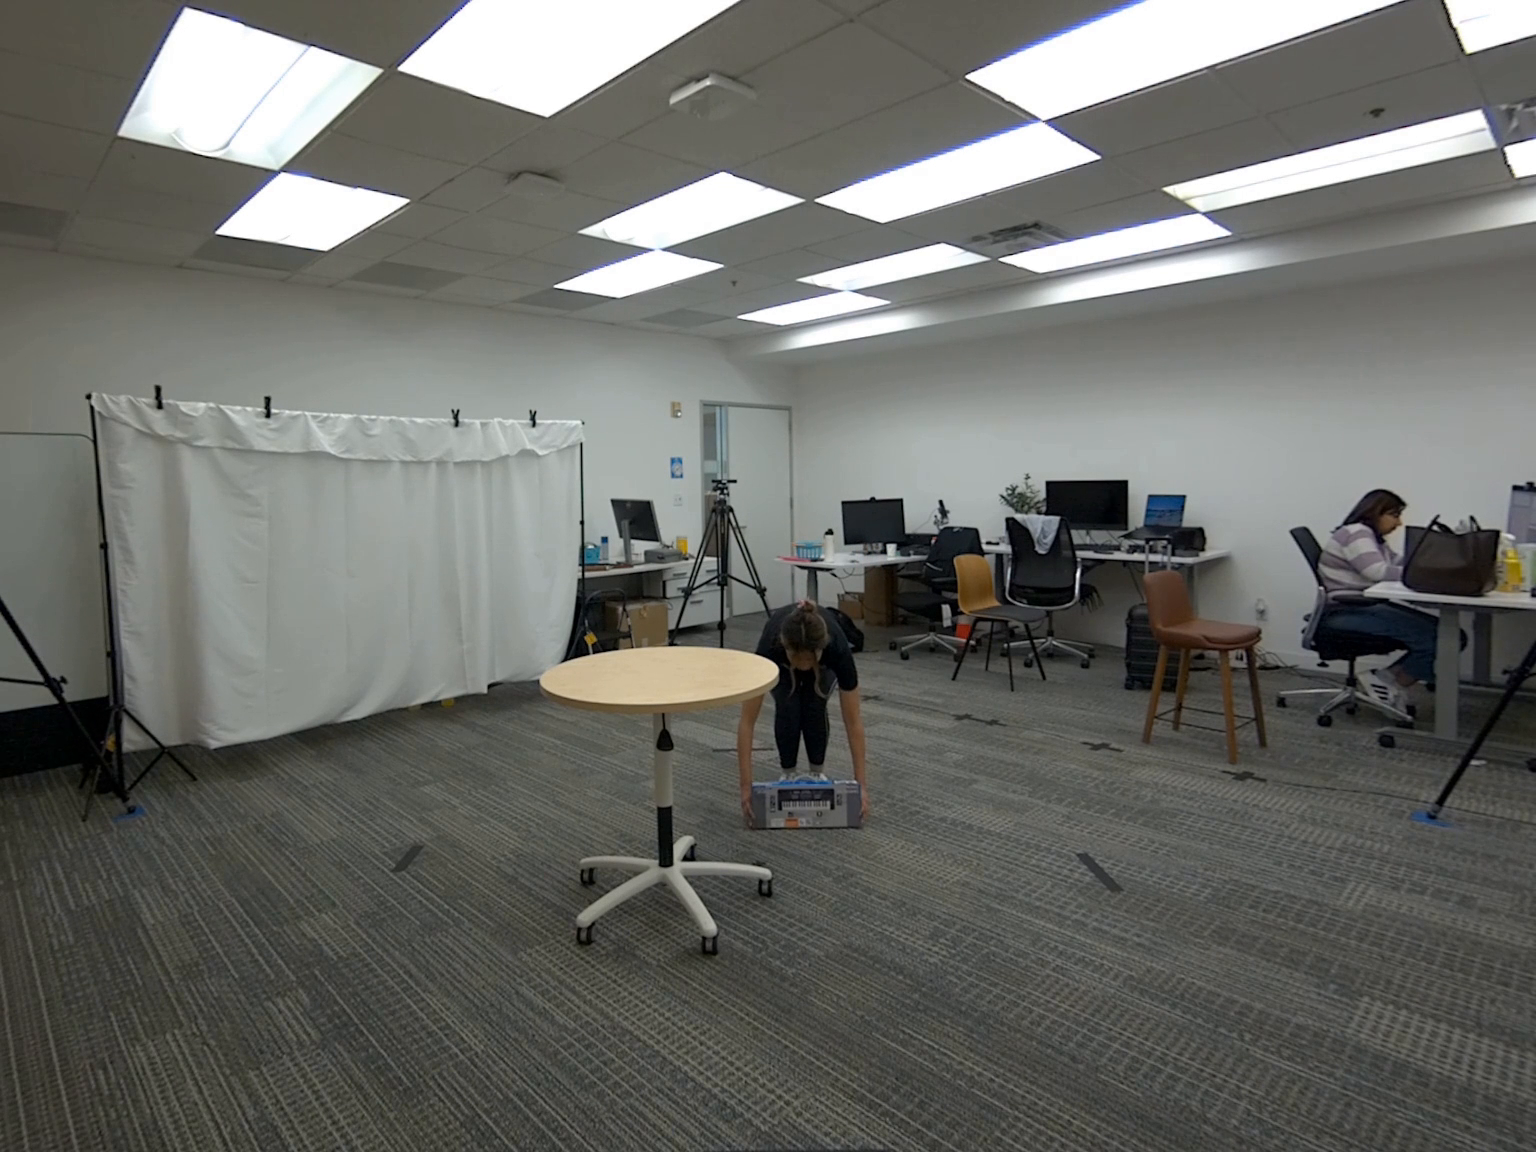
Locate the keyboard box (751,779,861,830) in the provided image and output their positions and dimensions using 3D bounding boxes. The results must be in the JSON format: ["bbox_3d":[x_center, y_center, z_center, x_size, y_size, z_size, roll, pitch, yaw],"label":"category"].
[{"bbox_3d":[0.157,0.917,3.434,0.437,0.176,0.059,-1,1,0],"label":"keyboard box"}]
